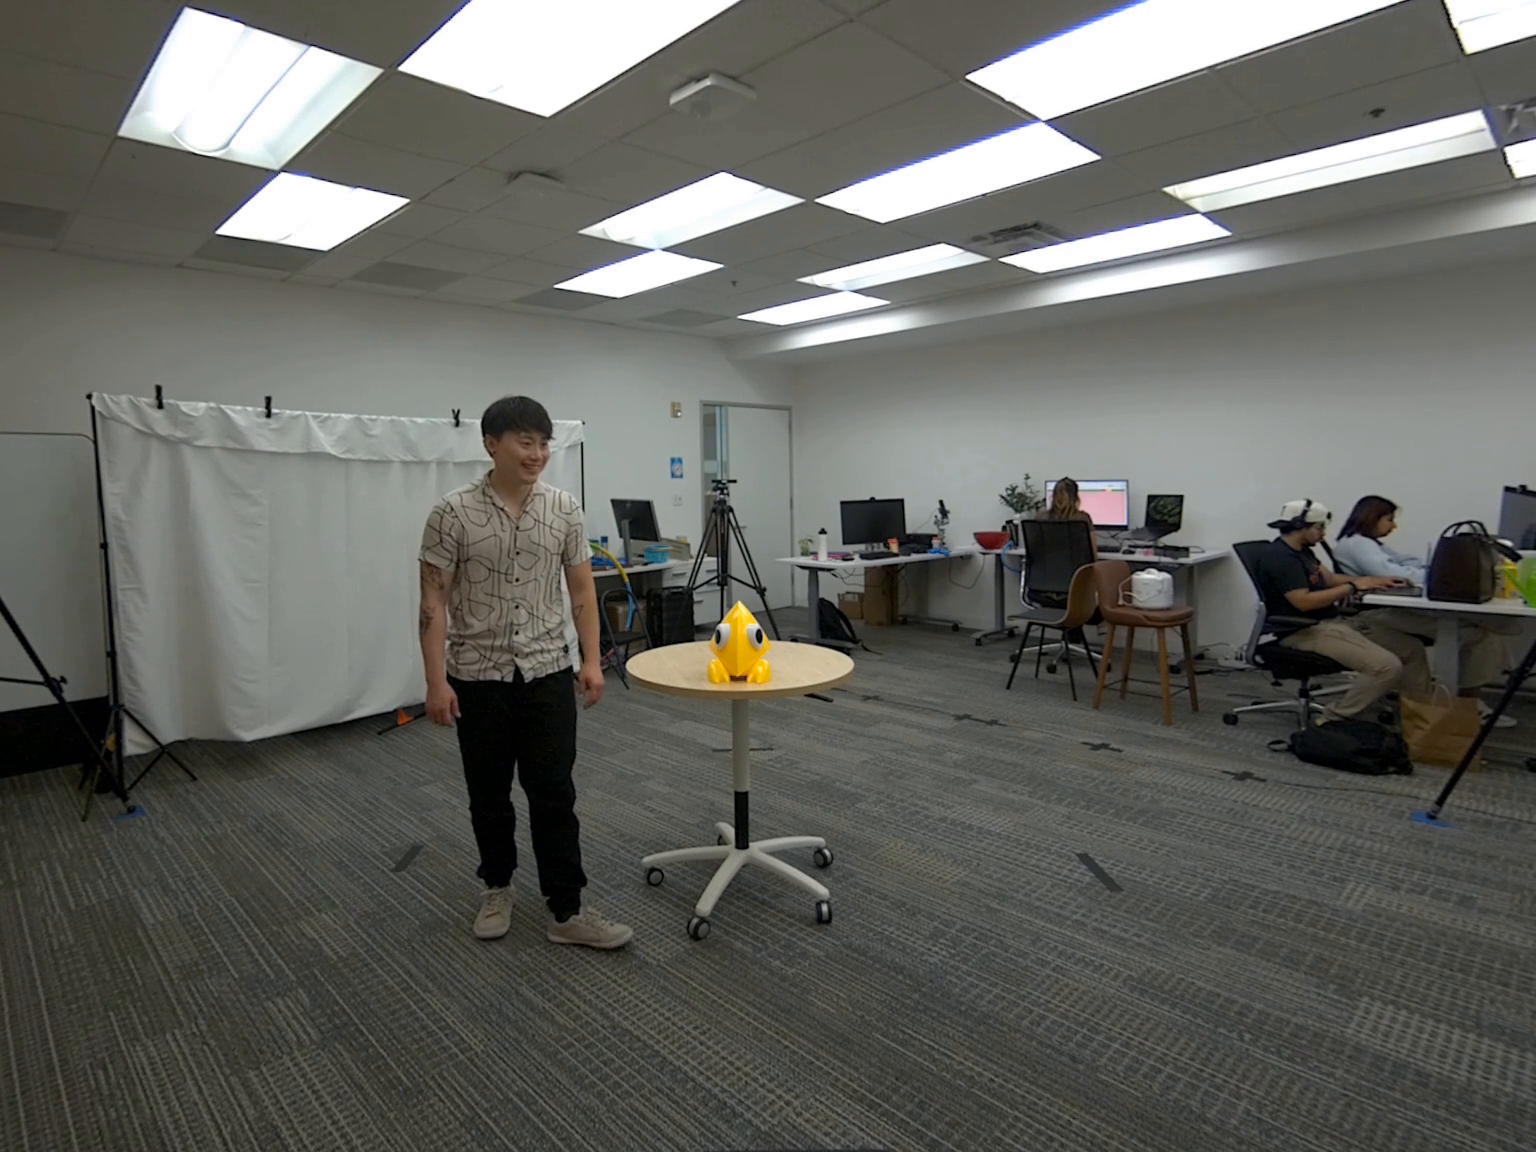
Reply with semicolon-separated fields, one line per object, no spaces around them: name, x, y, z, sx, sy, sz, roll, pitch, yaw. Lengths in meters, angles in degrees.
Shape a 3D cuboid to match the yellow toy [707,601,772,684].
yellow toy;-0.091;0.200;2.672;0.205;0.230;0.193;-1;3;2
